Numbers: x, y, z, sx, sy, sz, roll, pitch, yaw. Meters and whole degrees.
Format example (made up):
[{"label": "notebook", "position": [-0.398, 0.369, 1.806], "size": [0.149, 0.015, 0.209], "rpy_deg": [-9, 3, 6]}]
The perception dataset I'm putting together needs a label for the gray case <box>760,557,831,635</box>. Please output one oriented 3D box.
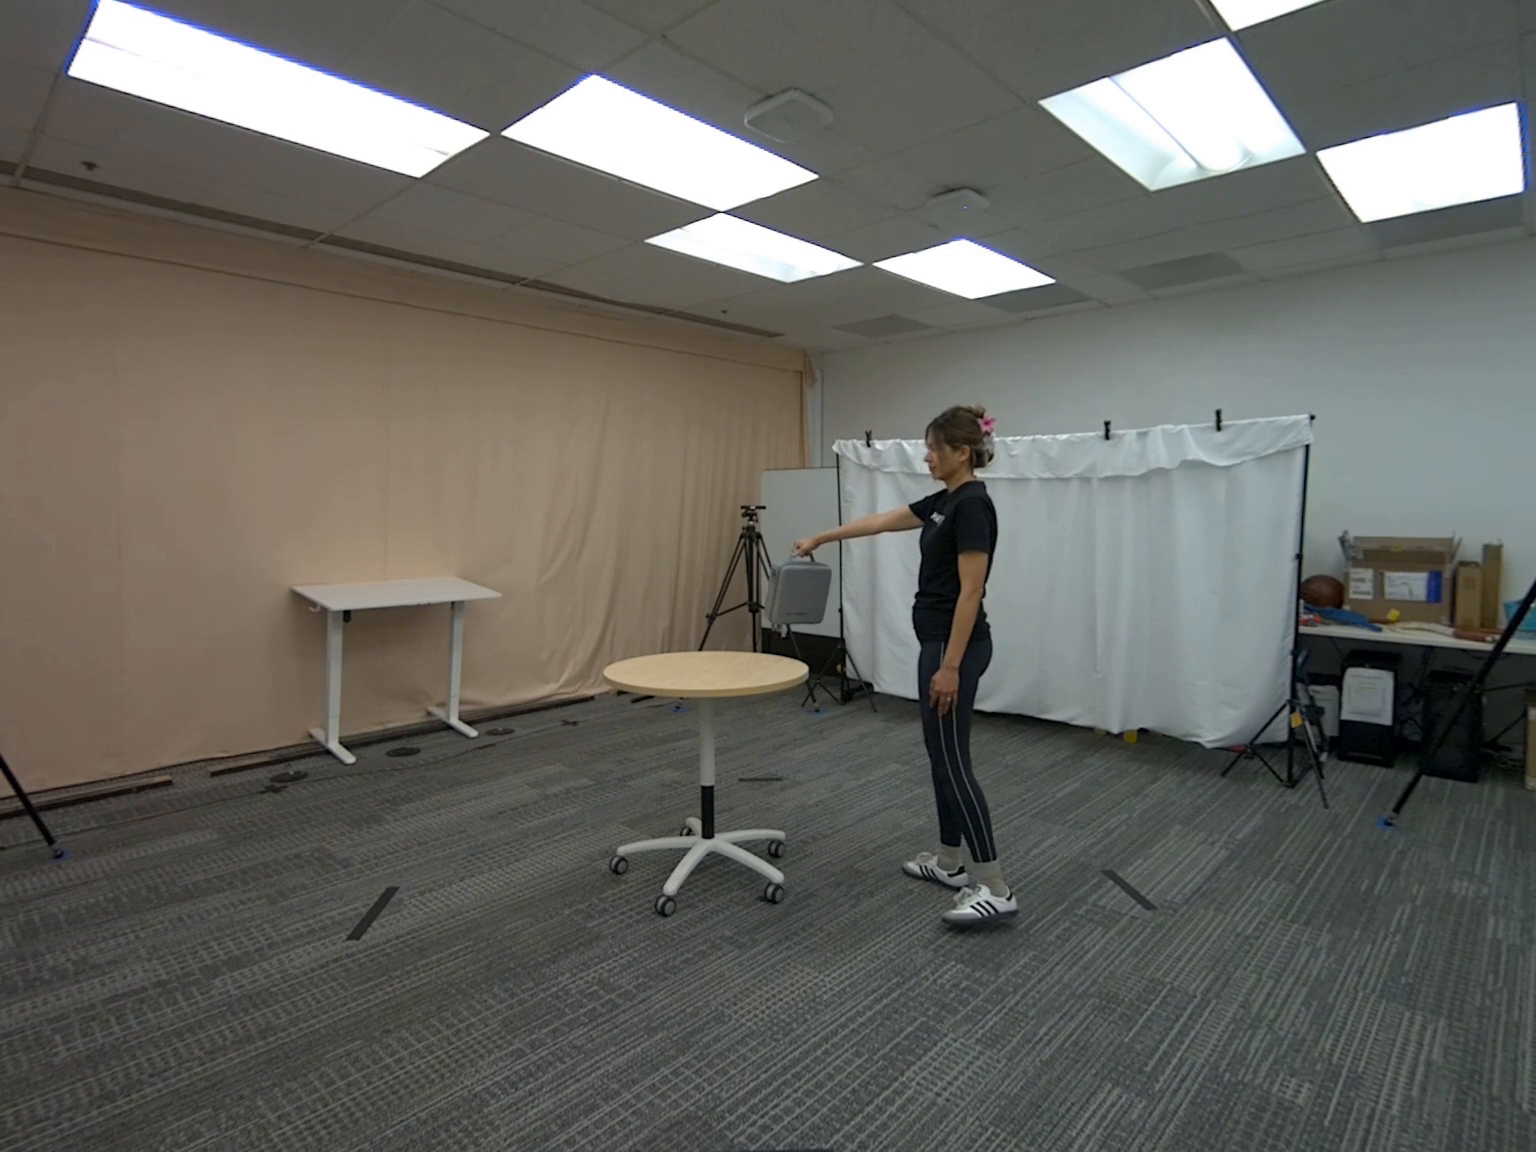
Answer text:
[{"label": "gray case", "position": [0.128, 0.063, 3.430], "size": [0.250, 0.259, 0.108], "rpy_deg": [3, 13, -28]}]
